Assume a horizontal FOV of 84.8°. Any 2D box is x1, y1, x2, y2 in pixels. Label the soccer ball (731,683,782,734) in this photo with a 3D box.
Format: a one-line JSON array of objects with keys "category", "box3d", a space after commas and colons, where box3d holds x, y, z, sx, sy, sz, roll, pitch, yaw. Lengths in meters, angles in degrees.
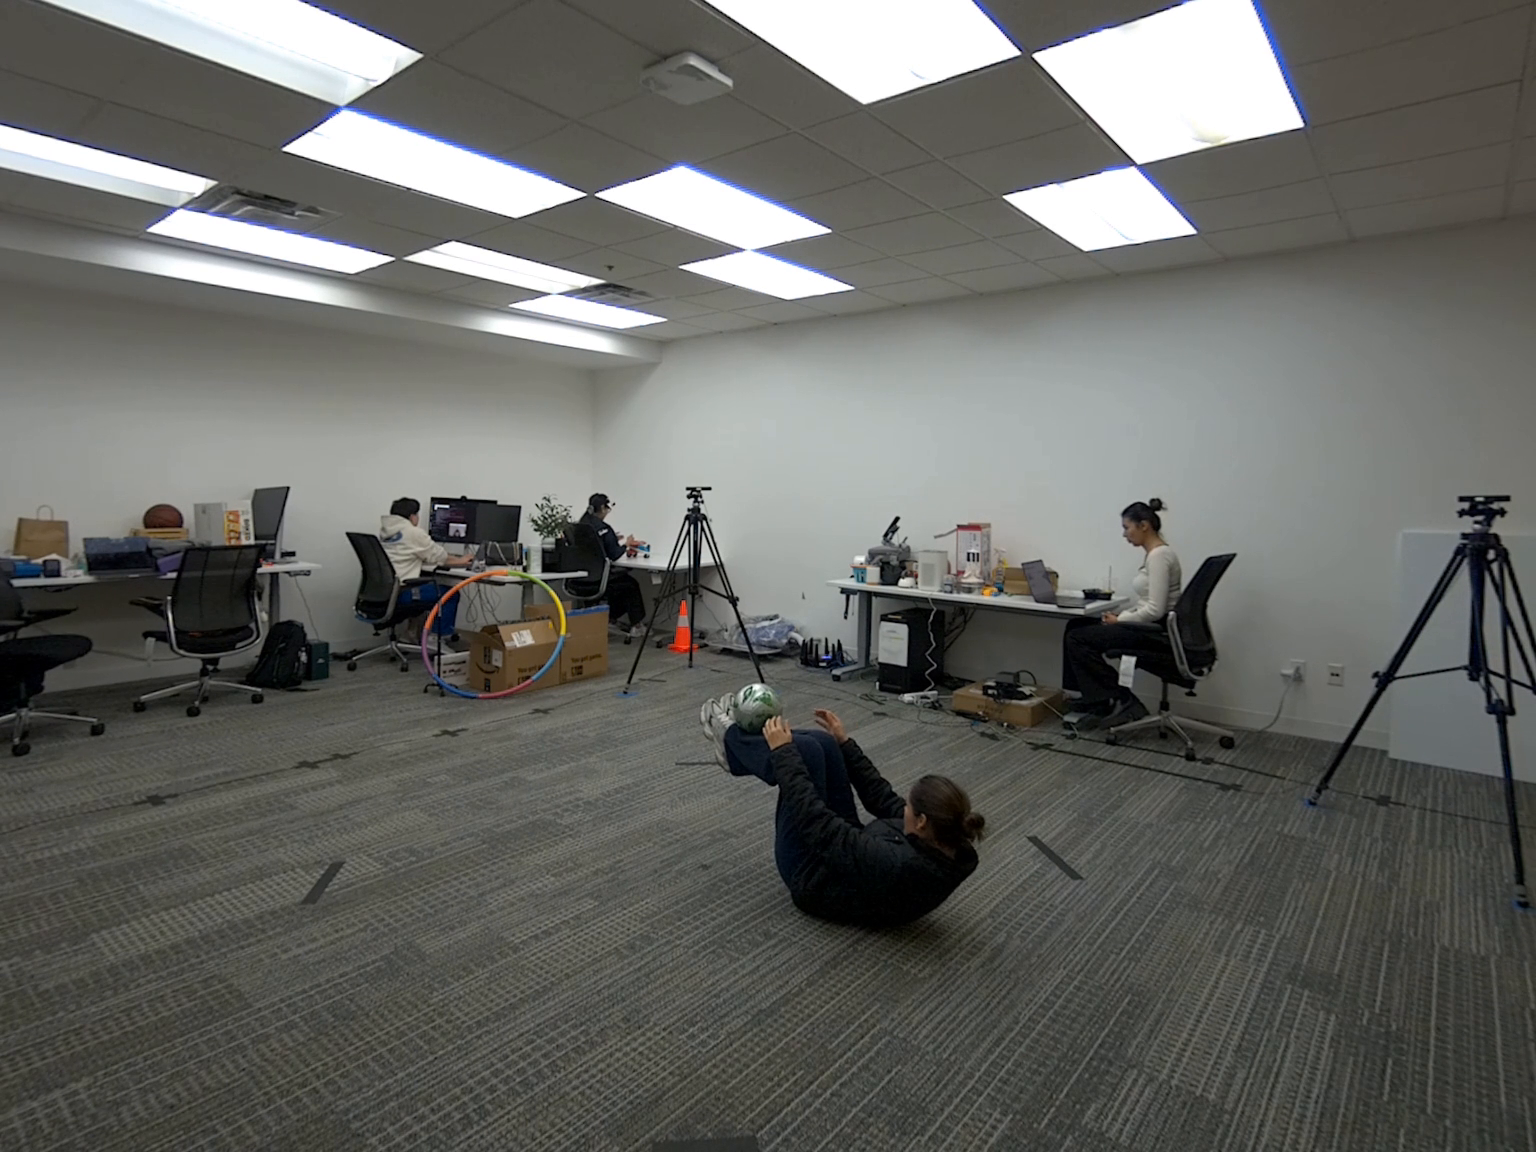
[{"category": "soccer ball", "box3d": [-0.048, 0.489, 3.139, 0.187, 0.187, 0.188, -3, 3, -2]}]
